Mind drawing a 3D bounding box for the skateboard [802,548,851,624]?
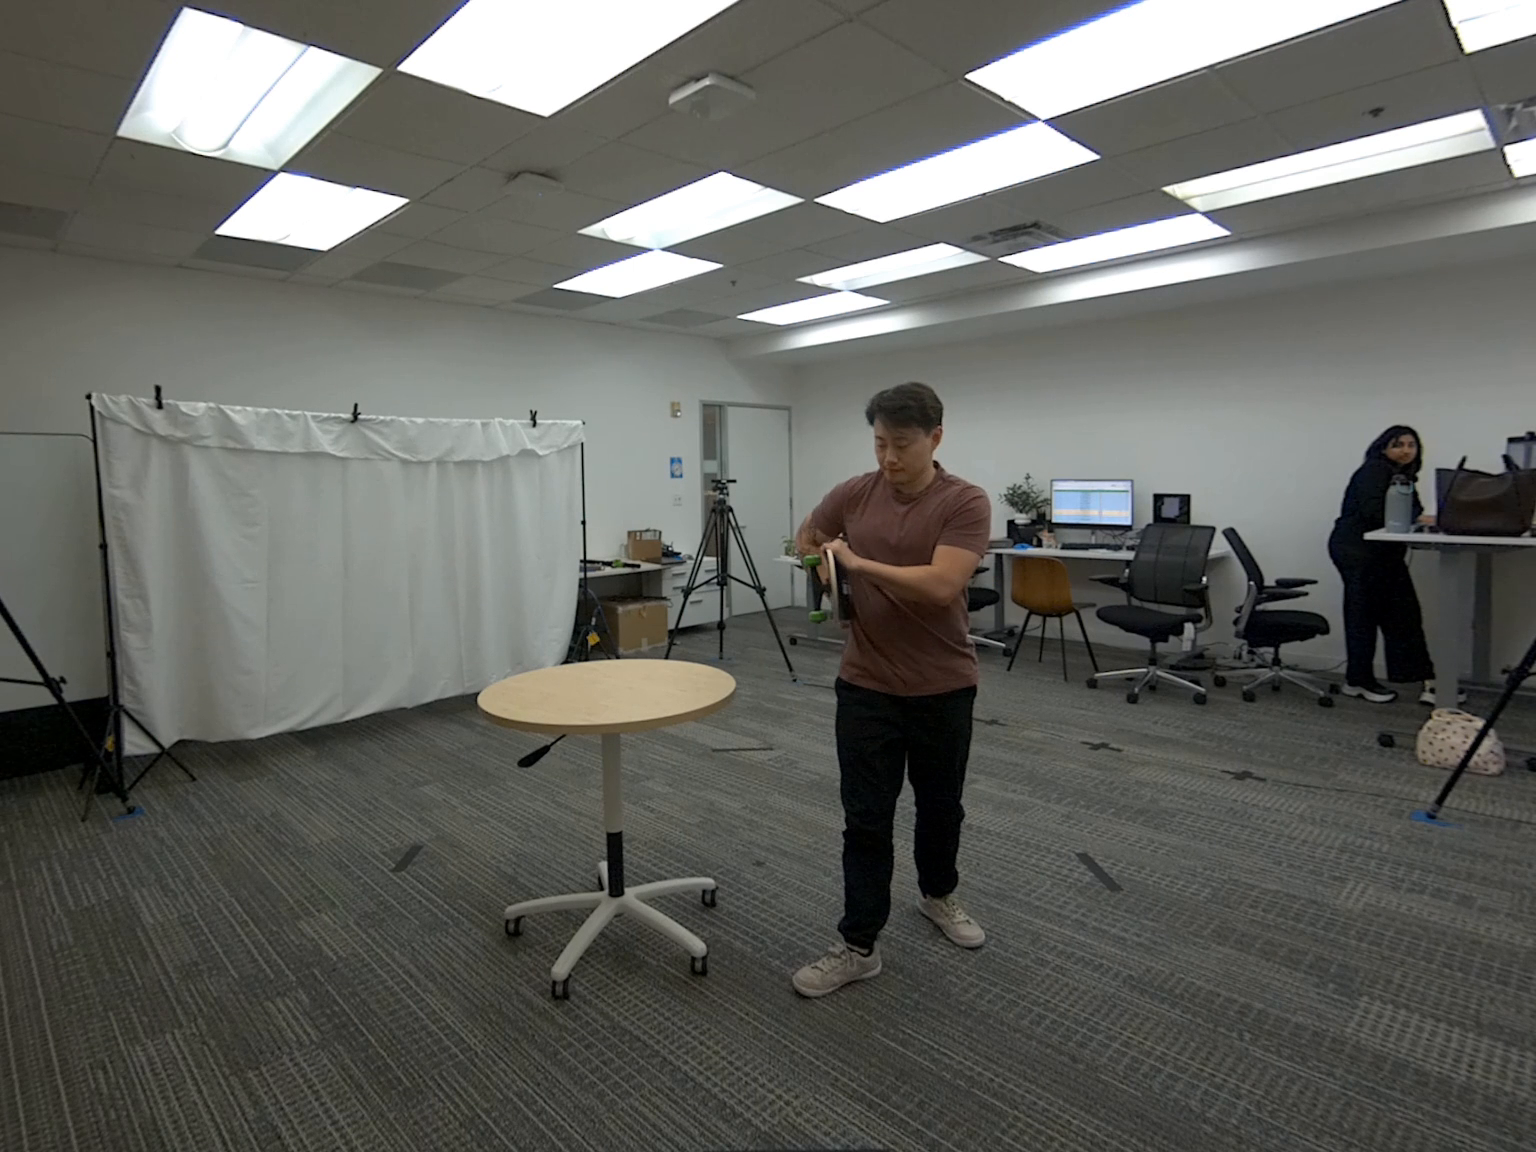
[{"bbox_3d":[0.199,0.036,2.529,0.111,0.194,0.772,-5,-4,11],"label":"skateboard"}]
